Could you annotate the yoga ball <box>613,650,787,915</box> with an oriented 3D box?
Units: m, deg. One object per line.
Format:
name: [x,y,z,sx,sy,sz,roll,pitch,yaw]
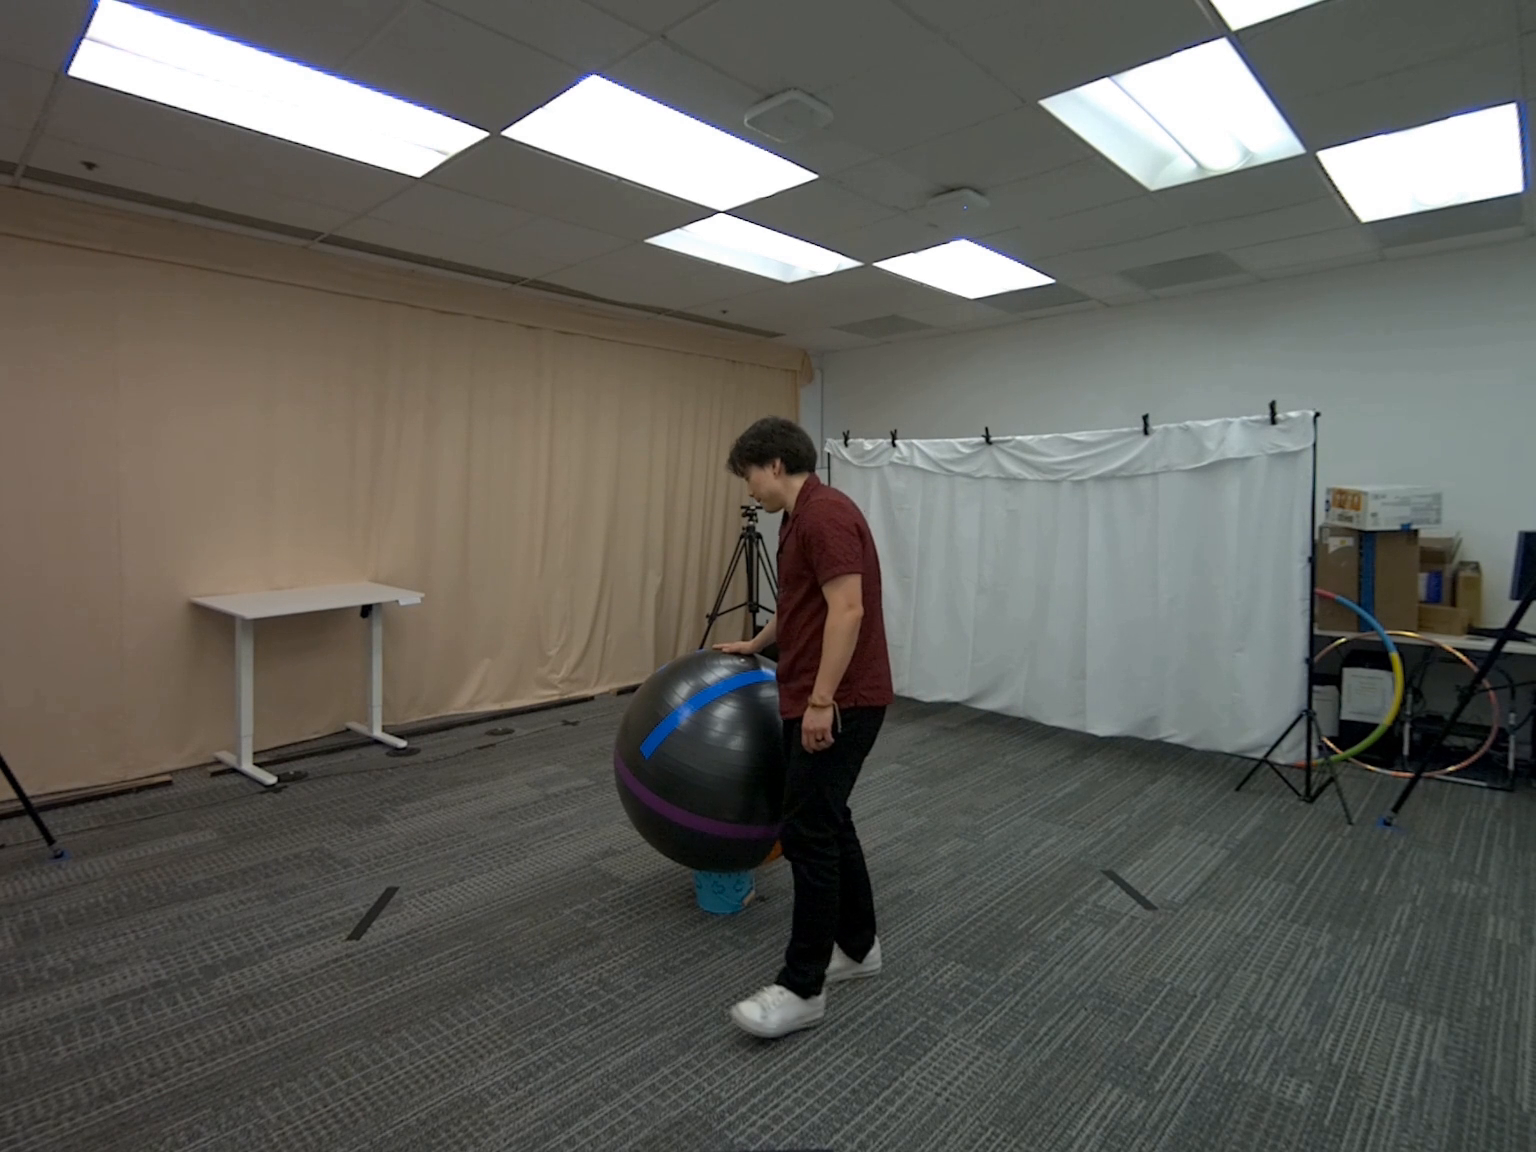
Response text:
yoga ball: [-0.153,0.634,2.945,0.757,0.756,0.760,0,4,-2]
